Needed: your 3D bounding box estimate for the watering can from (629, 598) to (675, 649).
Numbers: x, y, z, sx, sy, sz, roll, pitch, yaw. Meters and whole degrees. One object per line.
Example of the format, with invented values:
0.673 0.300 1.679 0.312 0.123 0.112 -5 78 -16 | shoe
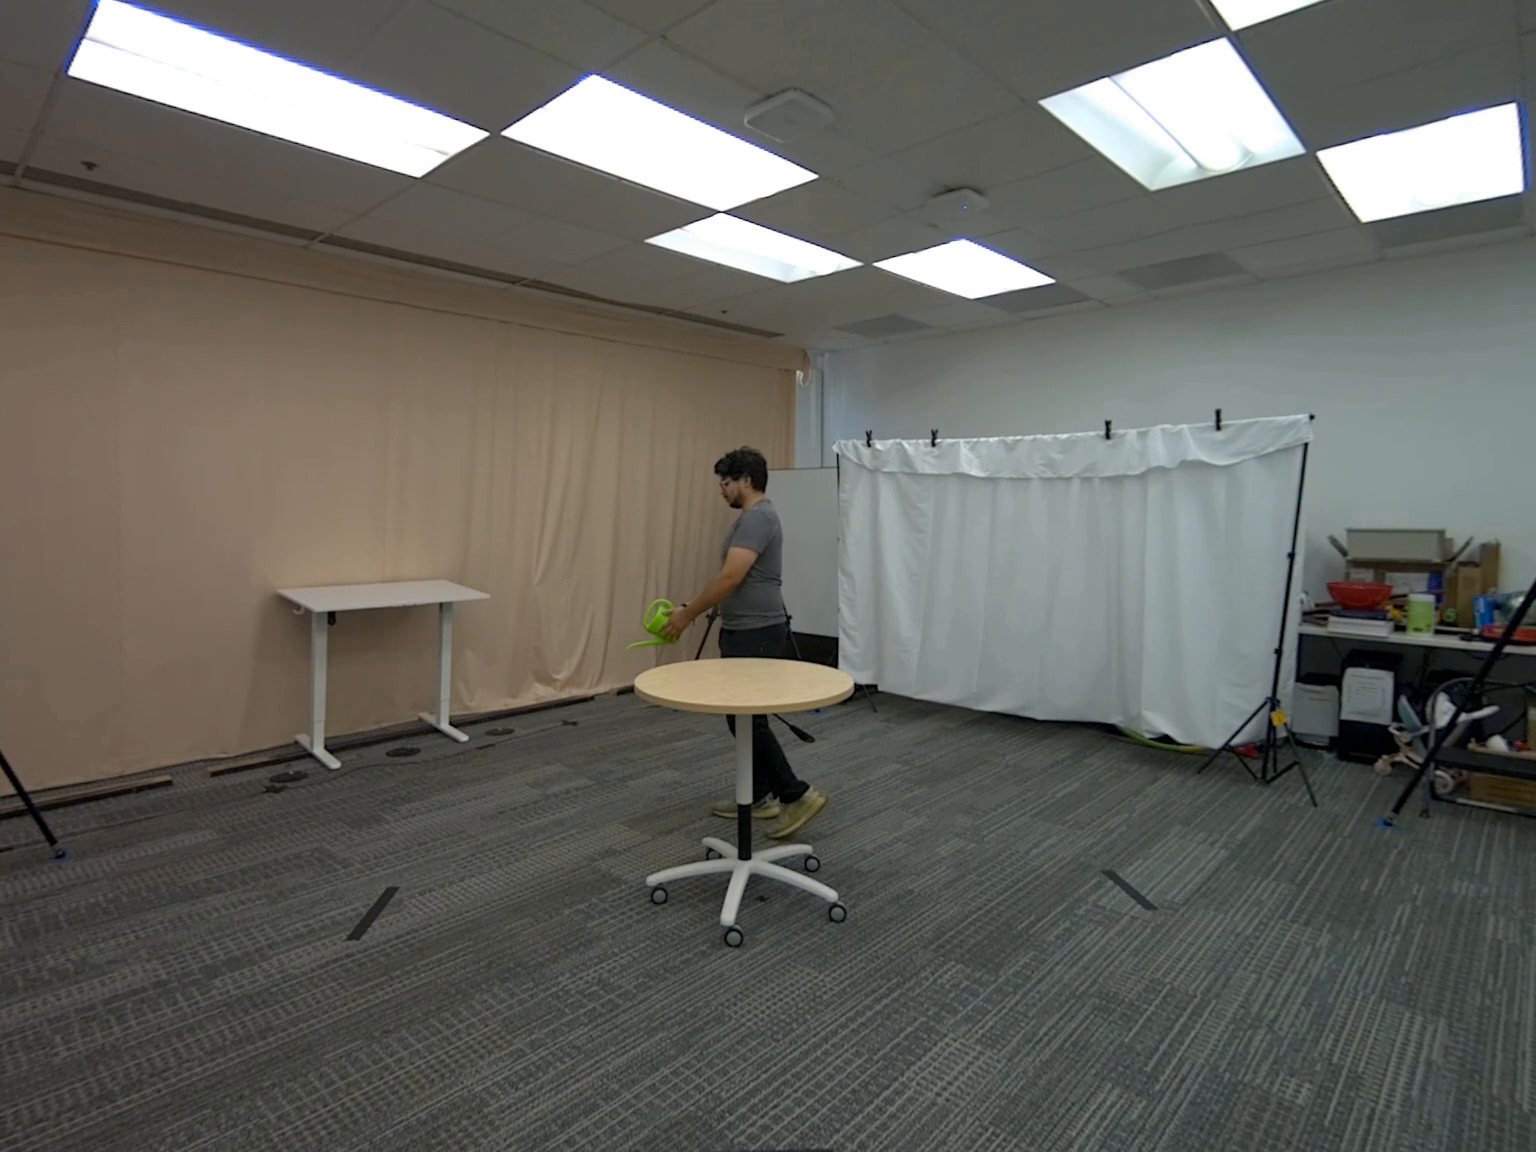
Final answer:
-0.482 0.244 3.727 0.175 0.278 0.099 30 9 -6 | watering can
